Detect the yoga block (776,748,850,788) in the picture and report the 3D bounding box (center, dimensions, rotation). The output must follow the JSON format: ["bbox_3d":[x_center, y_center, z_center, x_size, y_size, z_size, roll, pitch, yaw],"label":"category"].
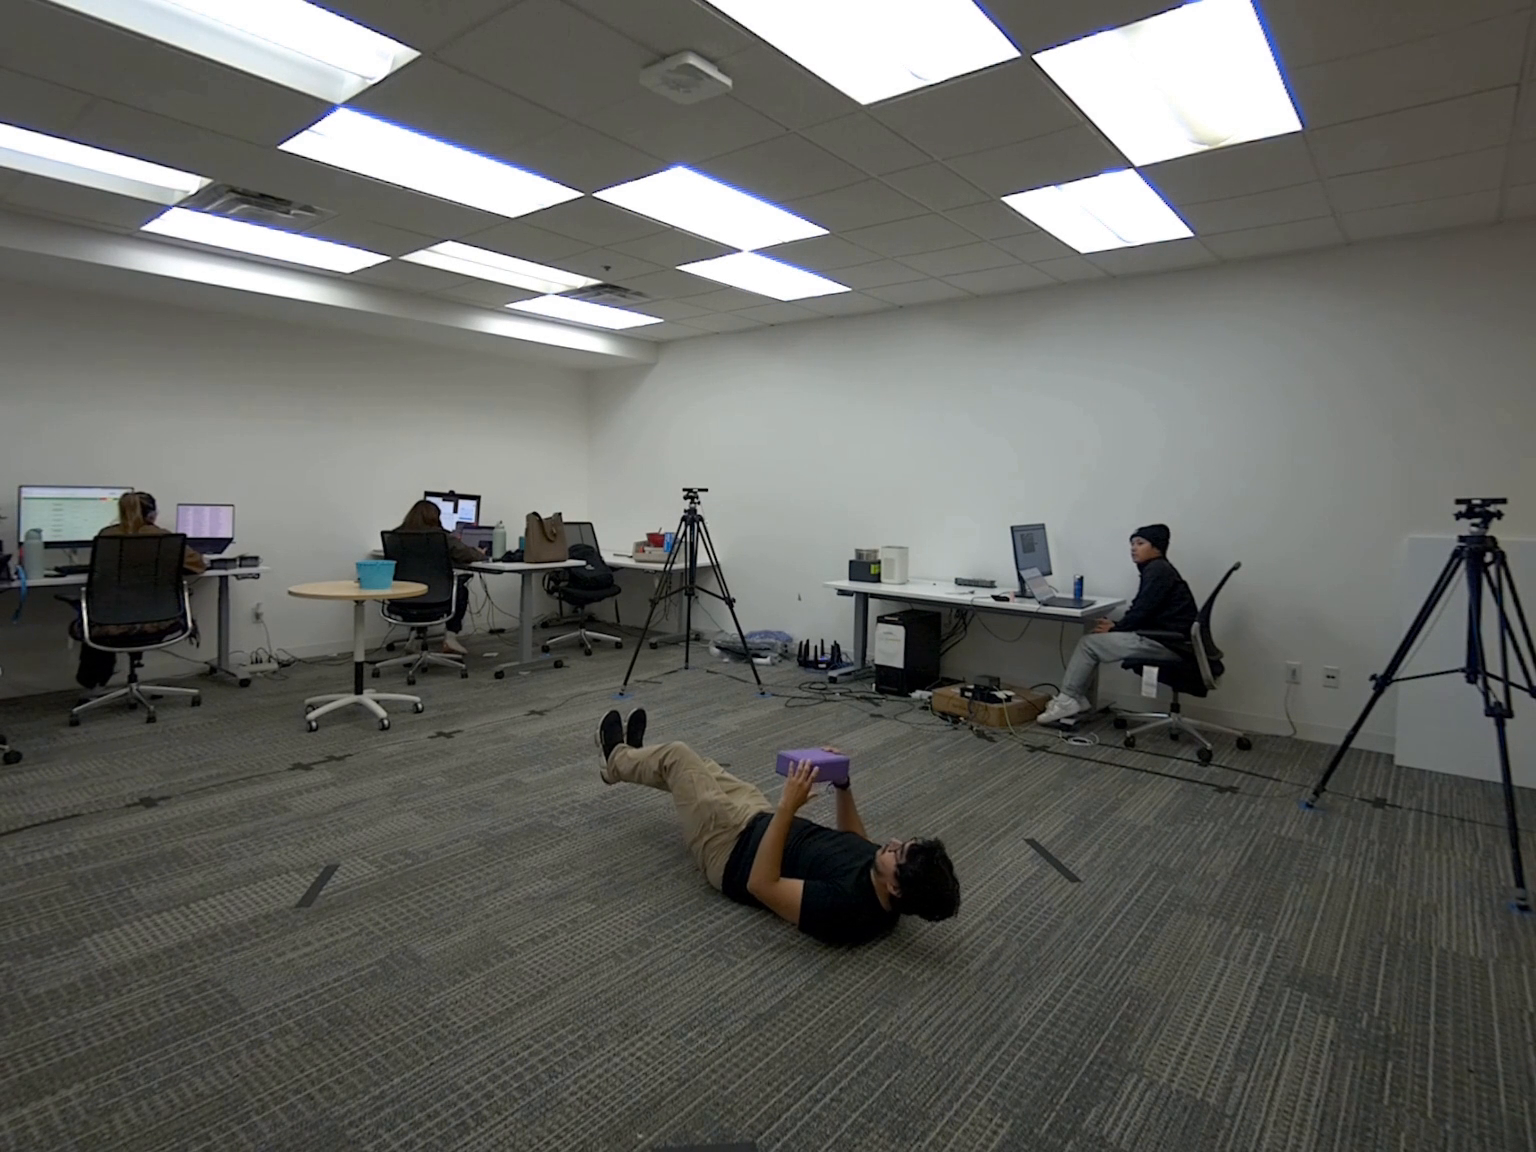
[{"bbox_3d":[0.143,0.650,2.920,0.221,0.076,0.154,7,-1,-44],"label":"yoga block"}]
